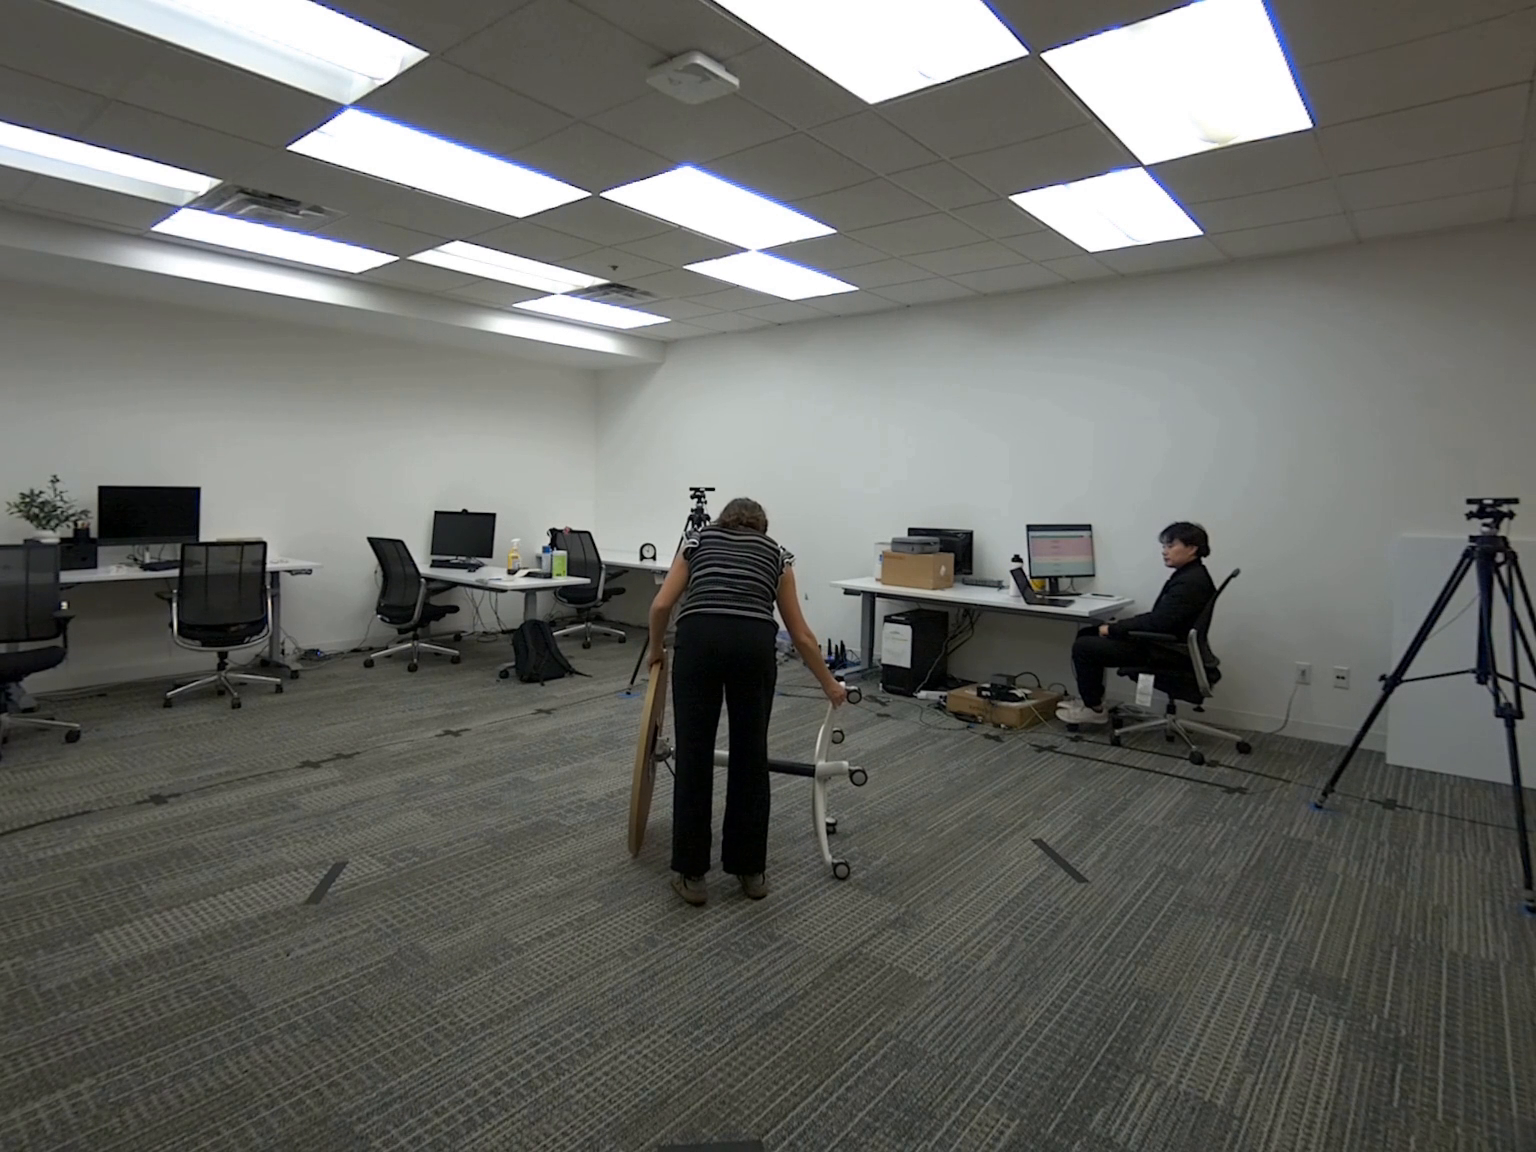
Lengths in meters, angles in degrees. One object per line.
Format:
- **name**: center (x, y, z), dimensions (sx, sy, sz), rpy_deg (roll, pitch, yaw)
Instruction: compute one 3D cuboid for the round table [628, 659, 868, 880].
- **round table**: center (-0.078, 0.724, 3.278), dimensions (0.795, 0.762, 0.766), rpy_deg (7, 4, 0)
